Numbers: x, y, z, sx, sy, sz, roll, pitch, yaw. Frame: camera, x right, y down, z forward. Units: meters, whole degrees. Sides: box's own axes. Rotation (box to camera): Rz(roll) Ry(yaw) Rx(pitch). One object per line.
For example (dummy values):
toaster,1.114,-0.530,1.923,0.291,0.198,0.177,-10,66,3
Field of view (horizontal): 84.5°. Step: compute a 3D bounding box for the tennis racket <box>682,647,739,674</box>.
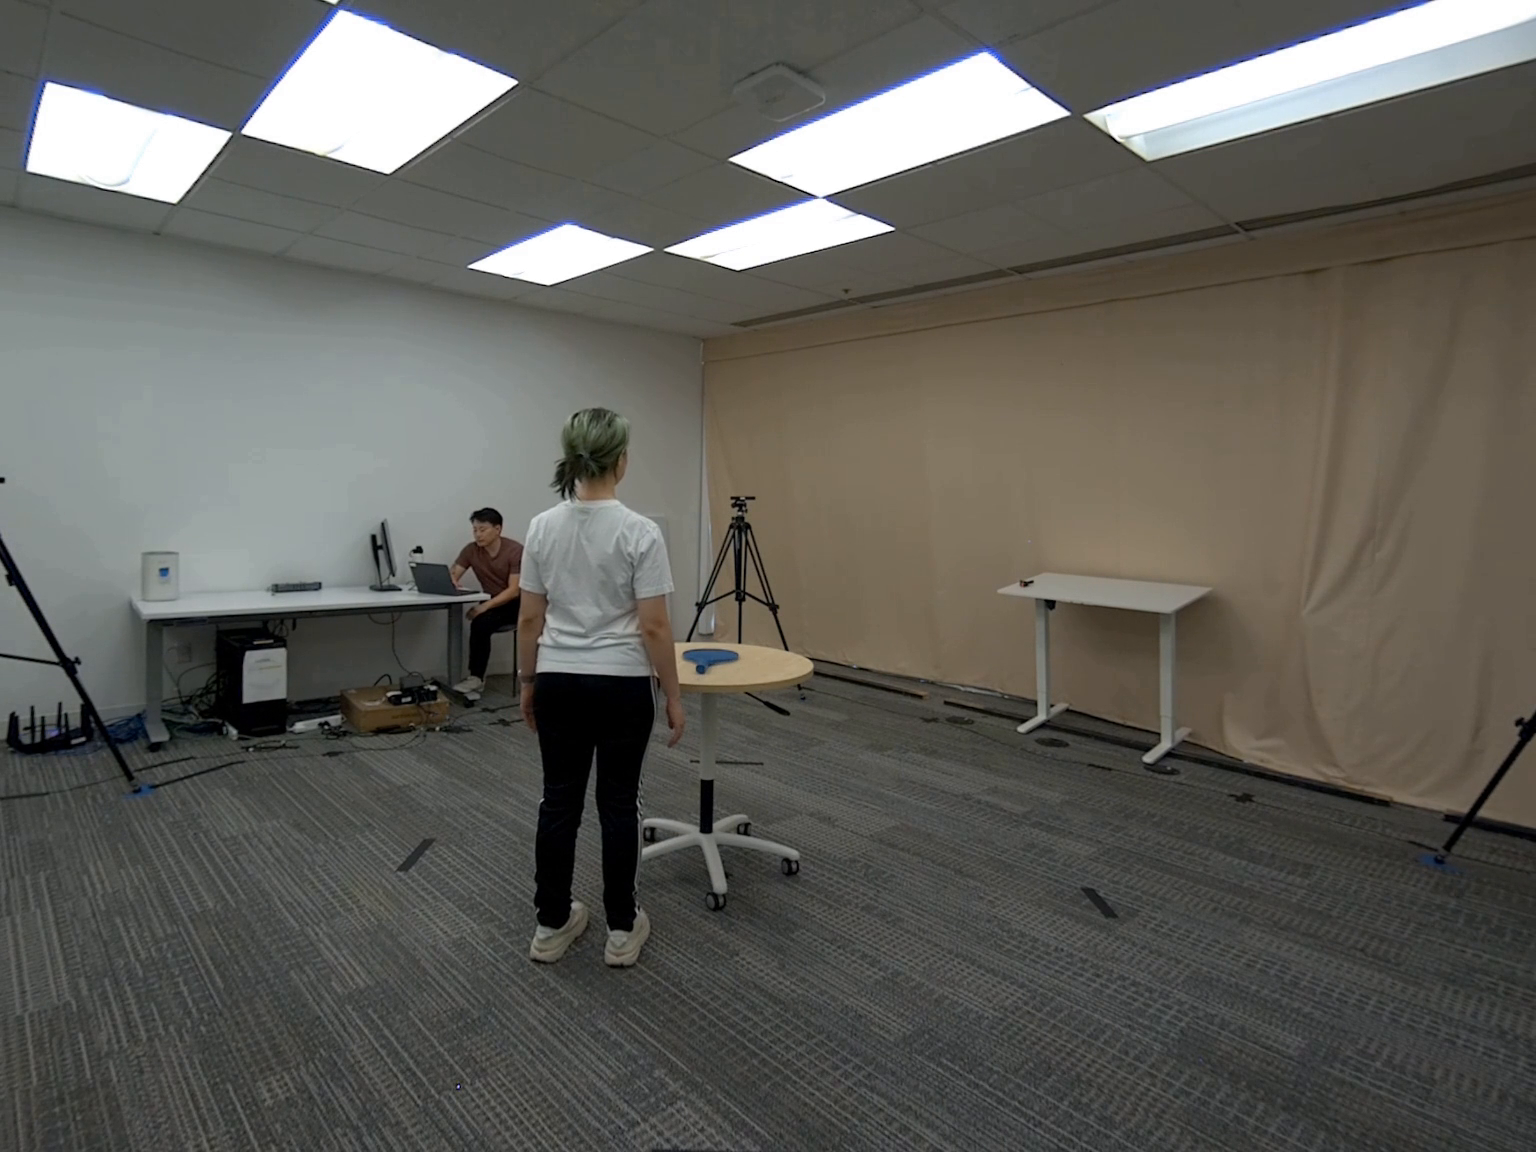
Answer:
tennis racket,-0.244,0.310,3.108,0.215,0.032,0.431,2,4,8
